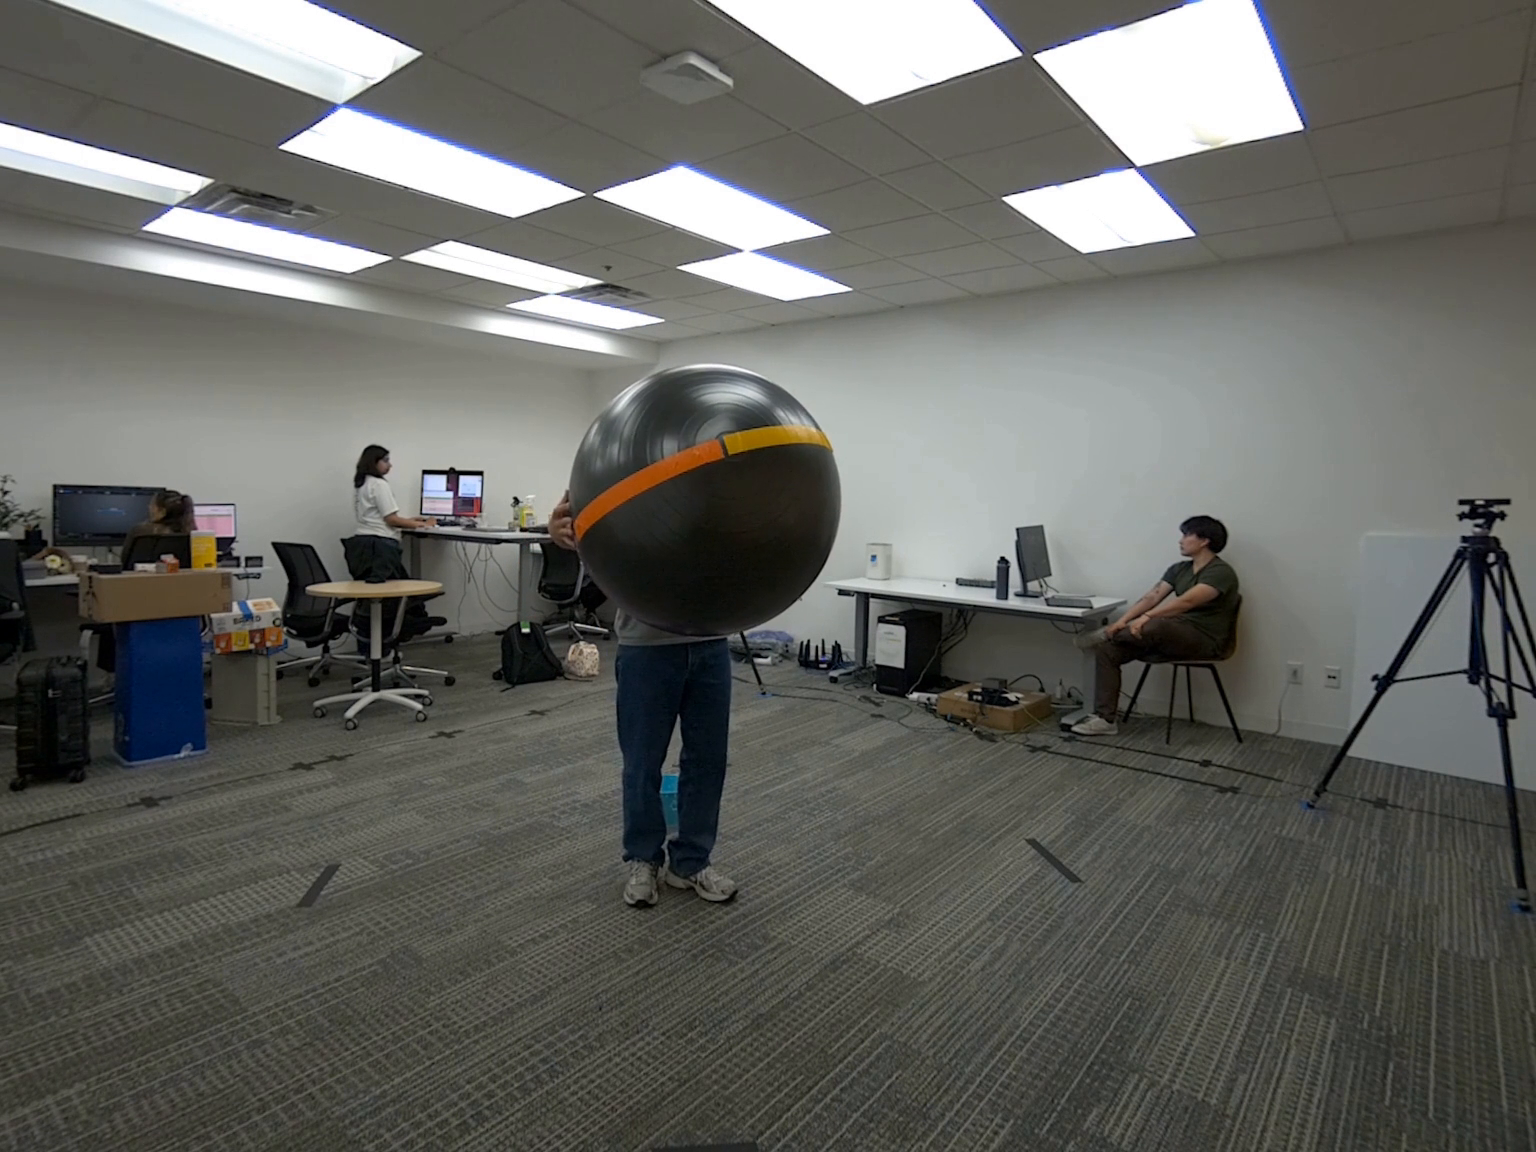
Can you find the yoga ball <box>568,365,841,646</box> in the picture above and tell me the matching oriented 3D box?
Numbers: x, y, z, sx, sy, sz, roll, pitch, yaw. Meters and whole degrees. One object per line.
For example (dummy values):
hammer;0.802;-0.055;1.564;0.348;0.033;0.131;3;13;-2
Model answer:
yoga ball;-0.184;-0.206;2.371;0.757;0.756;0.761;1;4;-2
